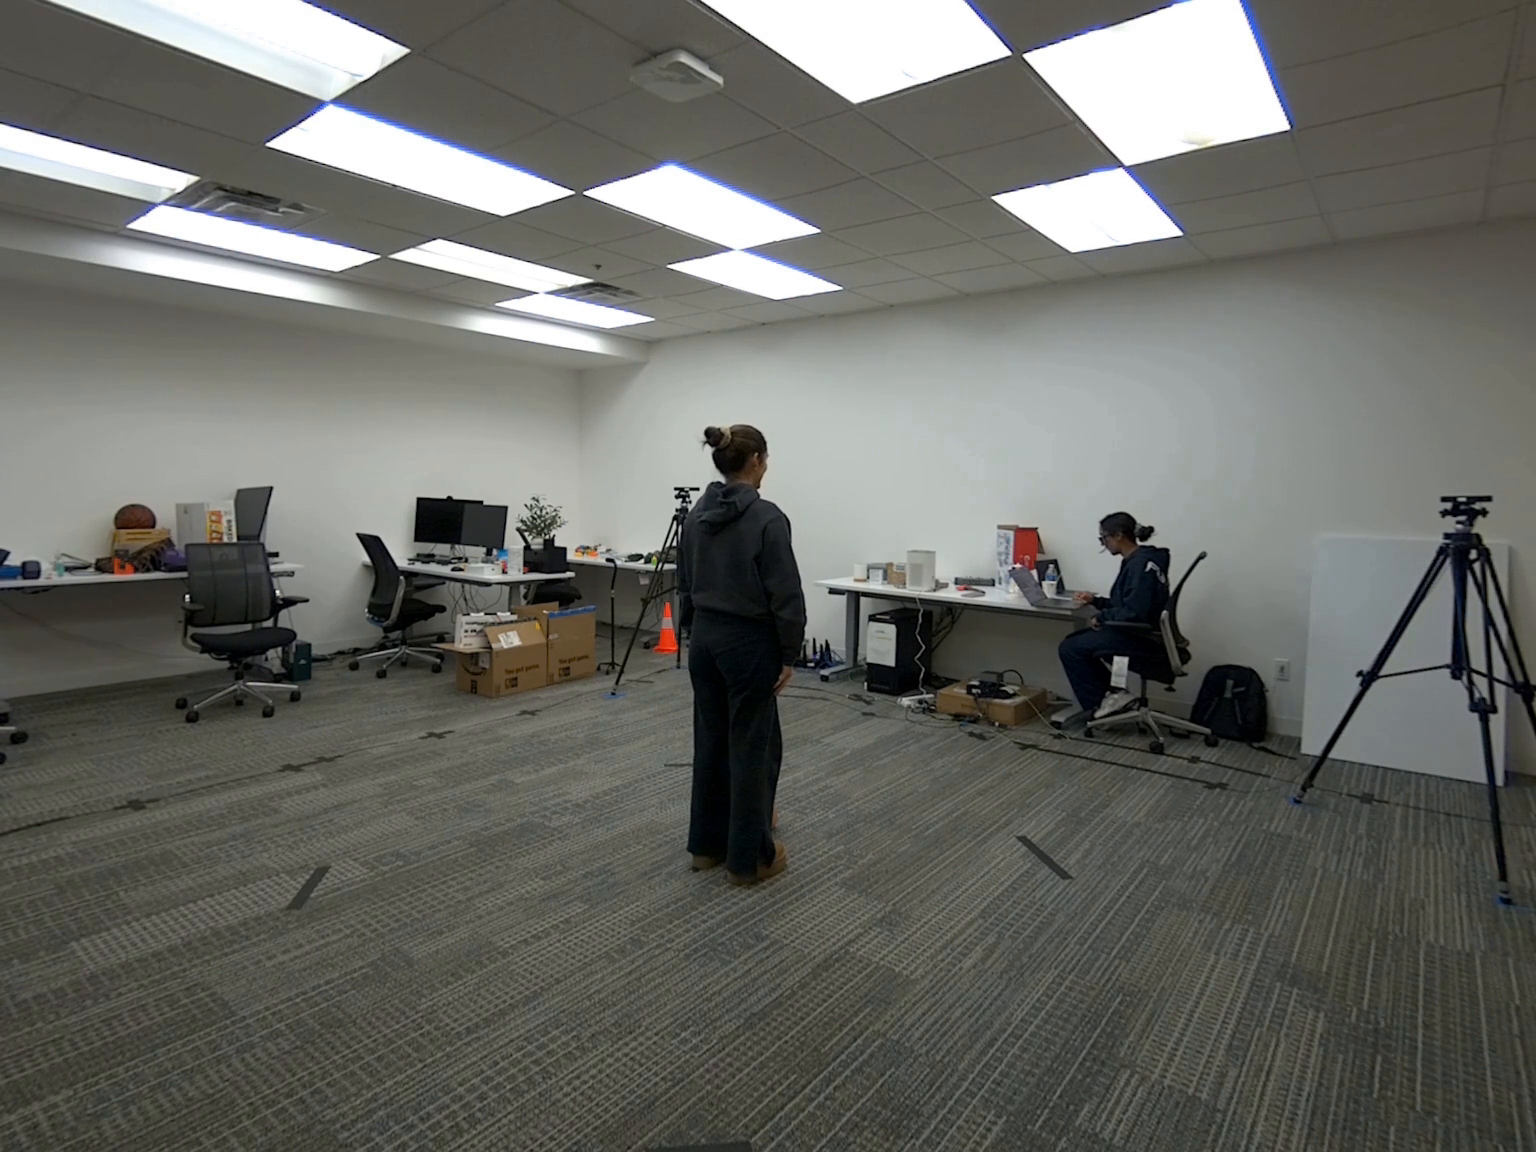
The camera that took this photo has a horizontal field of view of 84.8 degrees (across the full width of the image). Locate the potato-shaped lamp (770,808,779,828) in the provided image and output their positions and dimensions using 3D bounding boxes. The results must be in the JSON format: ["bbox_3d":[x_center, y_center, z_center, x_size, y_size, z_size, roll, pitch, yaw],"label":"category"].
[{"bbox_3d":[-0.035,0.928,3.471,0.170,0.197,0.167,4,6,34],"label":"potato-shaped lamp"}]
